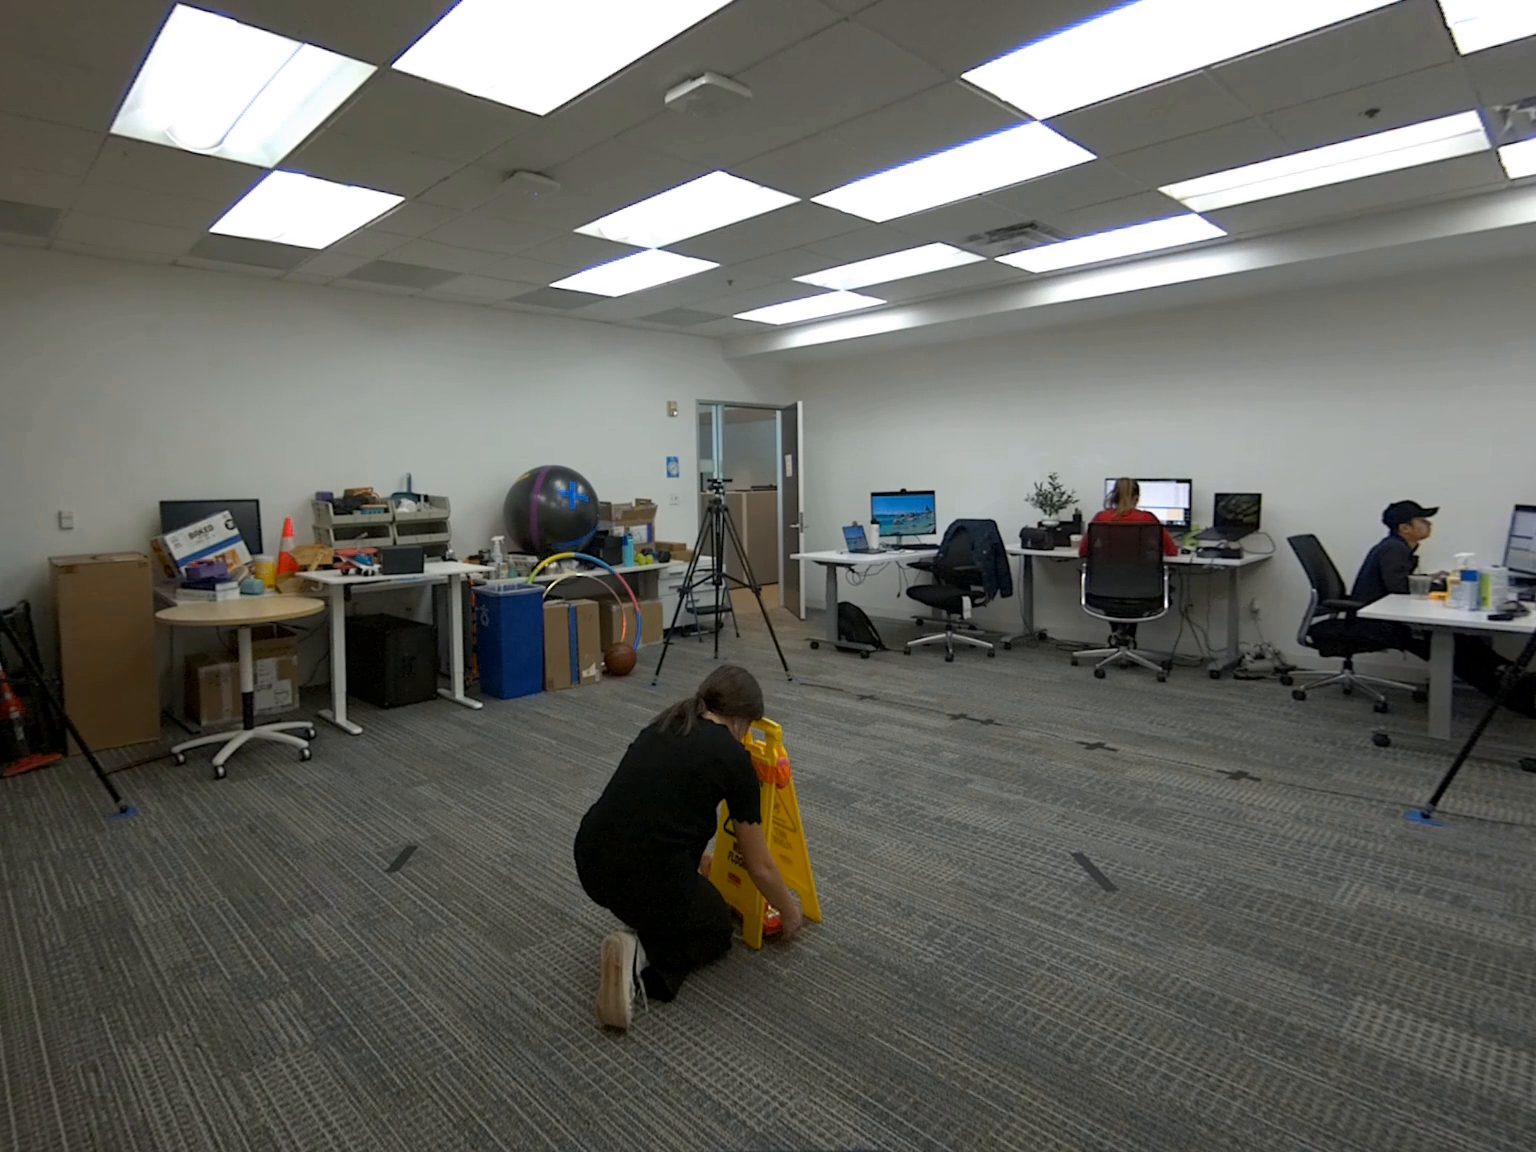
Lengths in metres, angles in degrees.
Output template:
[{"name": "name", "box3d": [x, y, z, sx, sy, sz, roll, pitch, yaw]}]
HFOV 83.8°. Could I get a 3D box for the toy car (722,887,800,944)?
[{"name": "toy car", "box3d": [-0.029, 1.058, 2.685, 0.127, 0.084, 0.259, -3, -5, -30]}]
